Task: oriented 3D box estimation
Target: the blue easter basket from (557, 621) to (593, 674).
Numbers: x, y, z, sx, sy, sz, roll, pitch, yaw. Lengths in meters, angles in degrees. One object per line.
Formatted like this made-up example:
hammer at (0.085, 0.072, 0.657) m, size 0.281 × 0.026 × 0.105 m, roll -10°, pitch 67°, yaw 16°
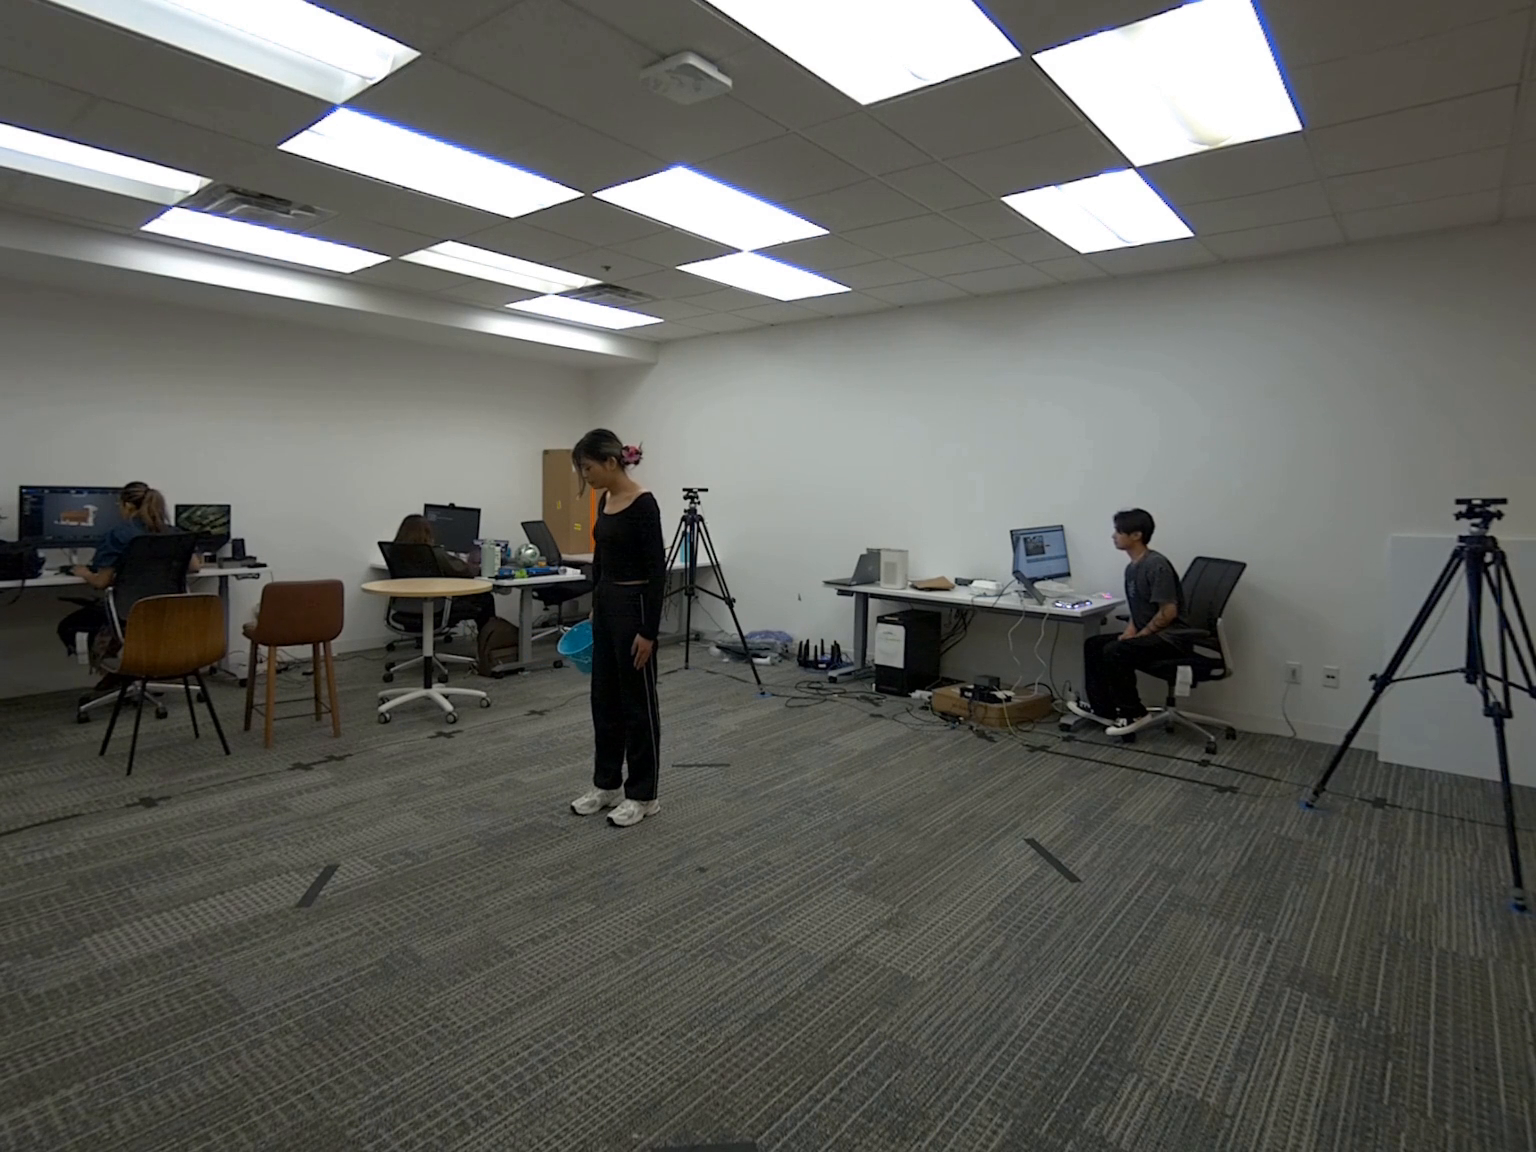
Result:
blue easter basket at (-0.834, 0.327, 3.894) m, size 0.245 × 0.150 × 0.250 m, roll -23°, pitch 31°, yaw 12°
